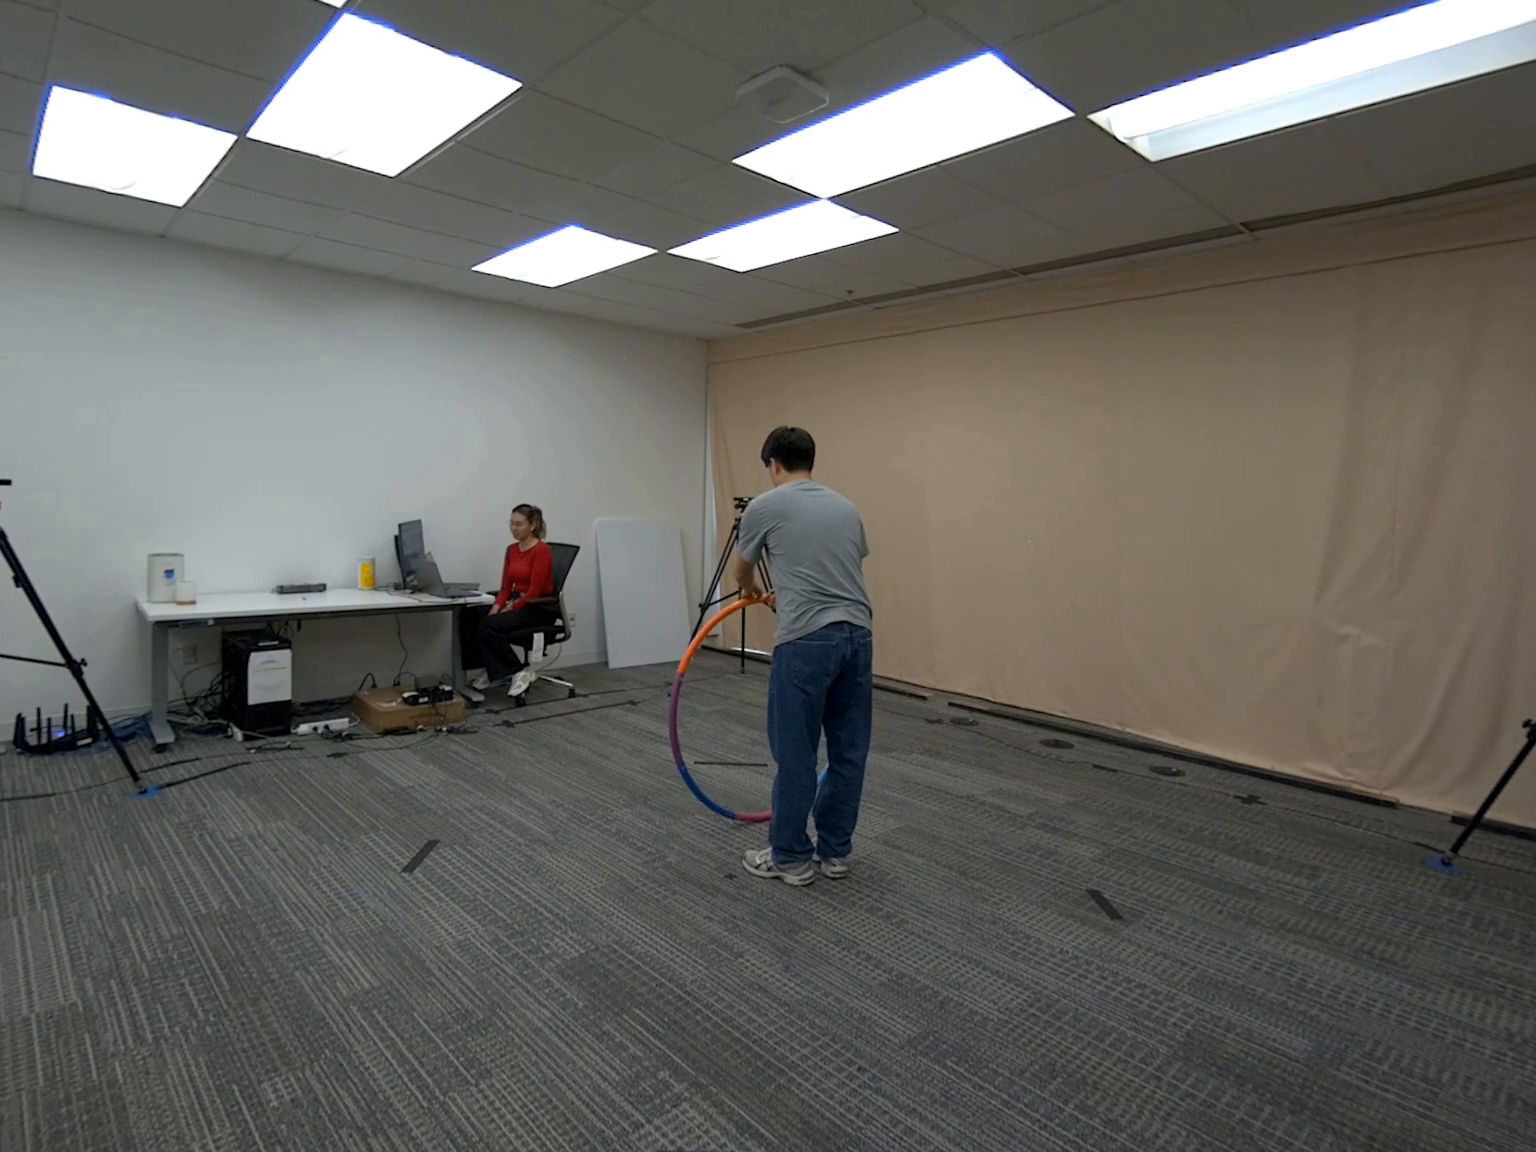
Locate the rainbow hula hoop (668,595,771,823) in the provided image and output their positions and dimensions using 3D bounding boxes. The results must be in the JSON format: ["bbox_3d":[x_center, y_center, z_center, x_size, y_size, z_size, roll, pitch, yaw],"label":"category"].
[{"bbox_3d":[-0.025,0.575,3.681,0.957,0.978,0.036,-2,1,-35],"label":"rainbow hula hoop"}]
